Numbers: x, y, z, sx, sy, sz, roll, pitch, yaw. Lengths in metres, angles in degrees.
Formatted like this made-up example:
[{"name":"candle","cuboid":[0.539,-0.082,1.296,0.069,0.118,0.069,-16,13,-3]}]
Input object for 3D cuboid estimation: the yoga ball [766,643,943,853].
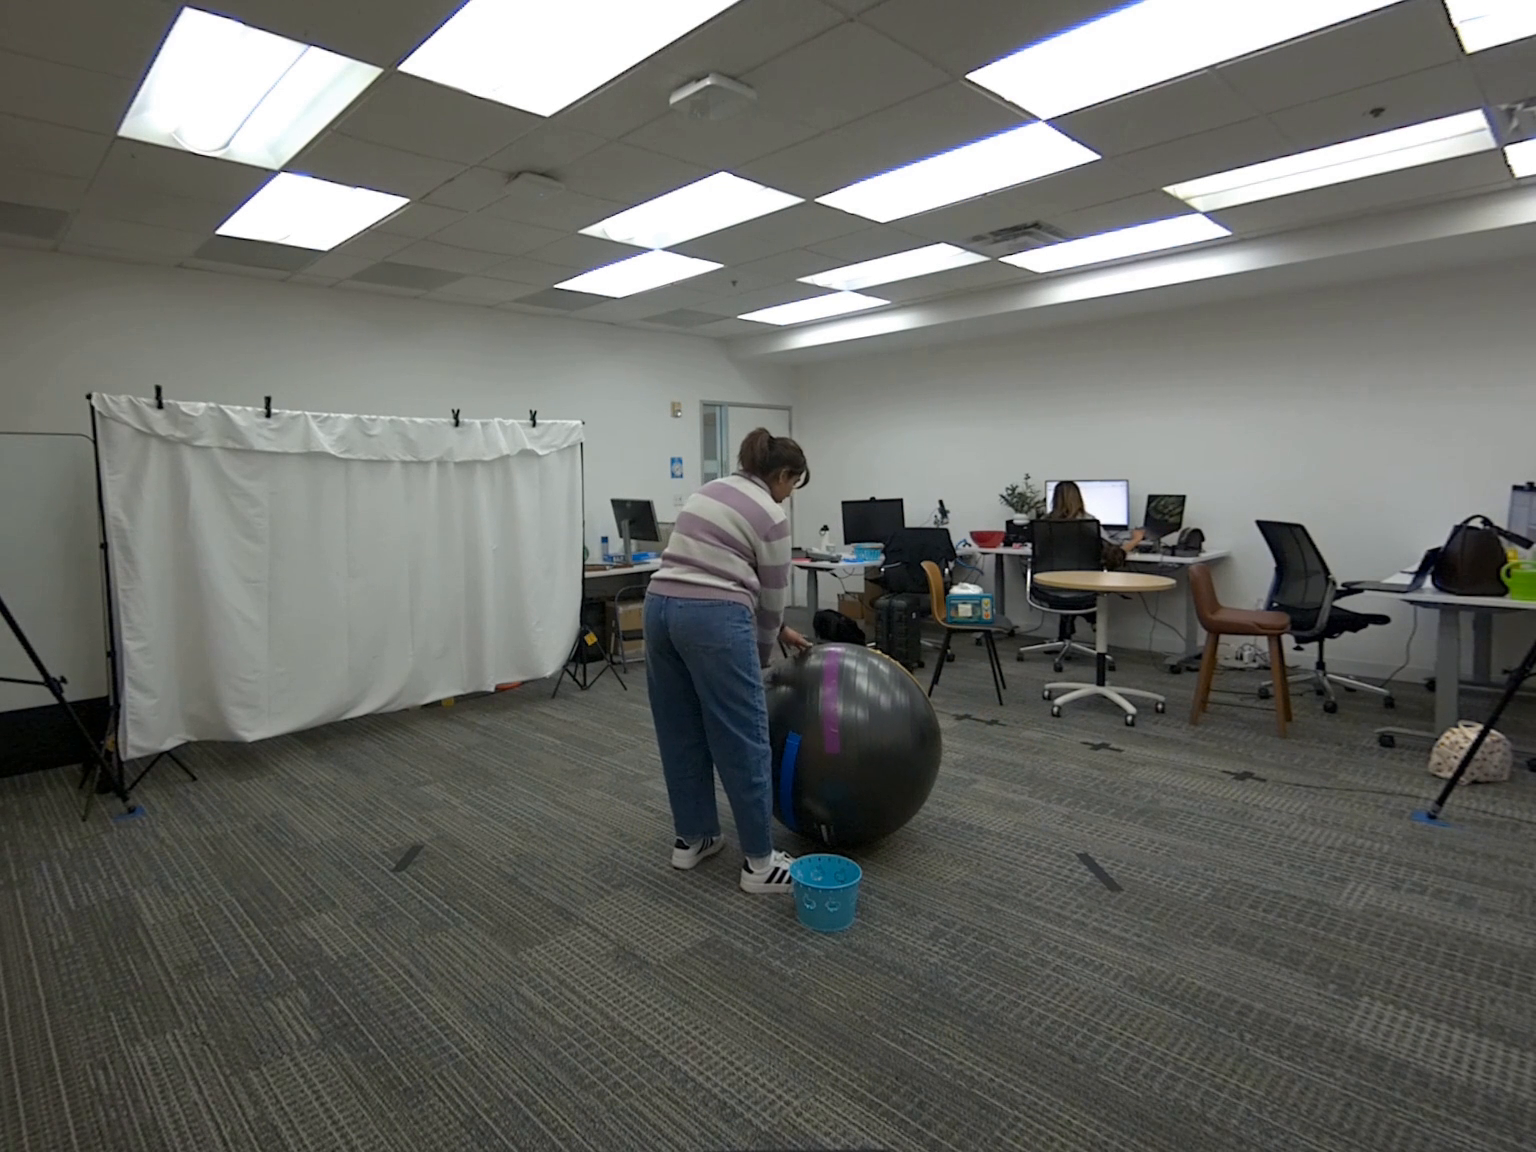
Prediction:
[{"name":"yoga ball","cuboid":[0.286,0.653,3.313,0.757,0.755,0.762,-1,5,-2]}]
